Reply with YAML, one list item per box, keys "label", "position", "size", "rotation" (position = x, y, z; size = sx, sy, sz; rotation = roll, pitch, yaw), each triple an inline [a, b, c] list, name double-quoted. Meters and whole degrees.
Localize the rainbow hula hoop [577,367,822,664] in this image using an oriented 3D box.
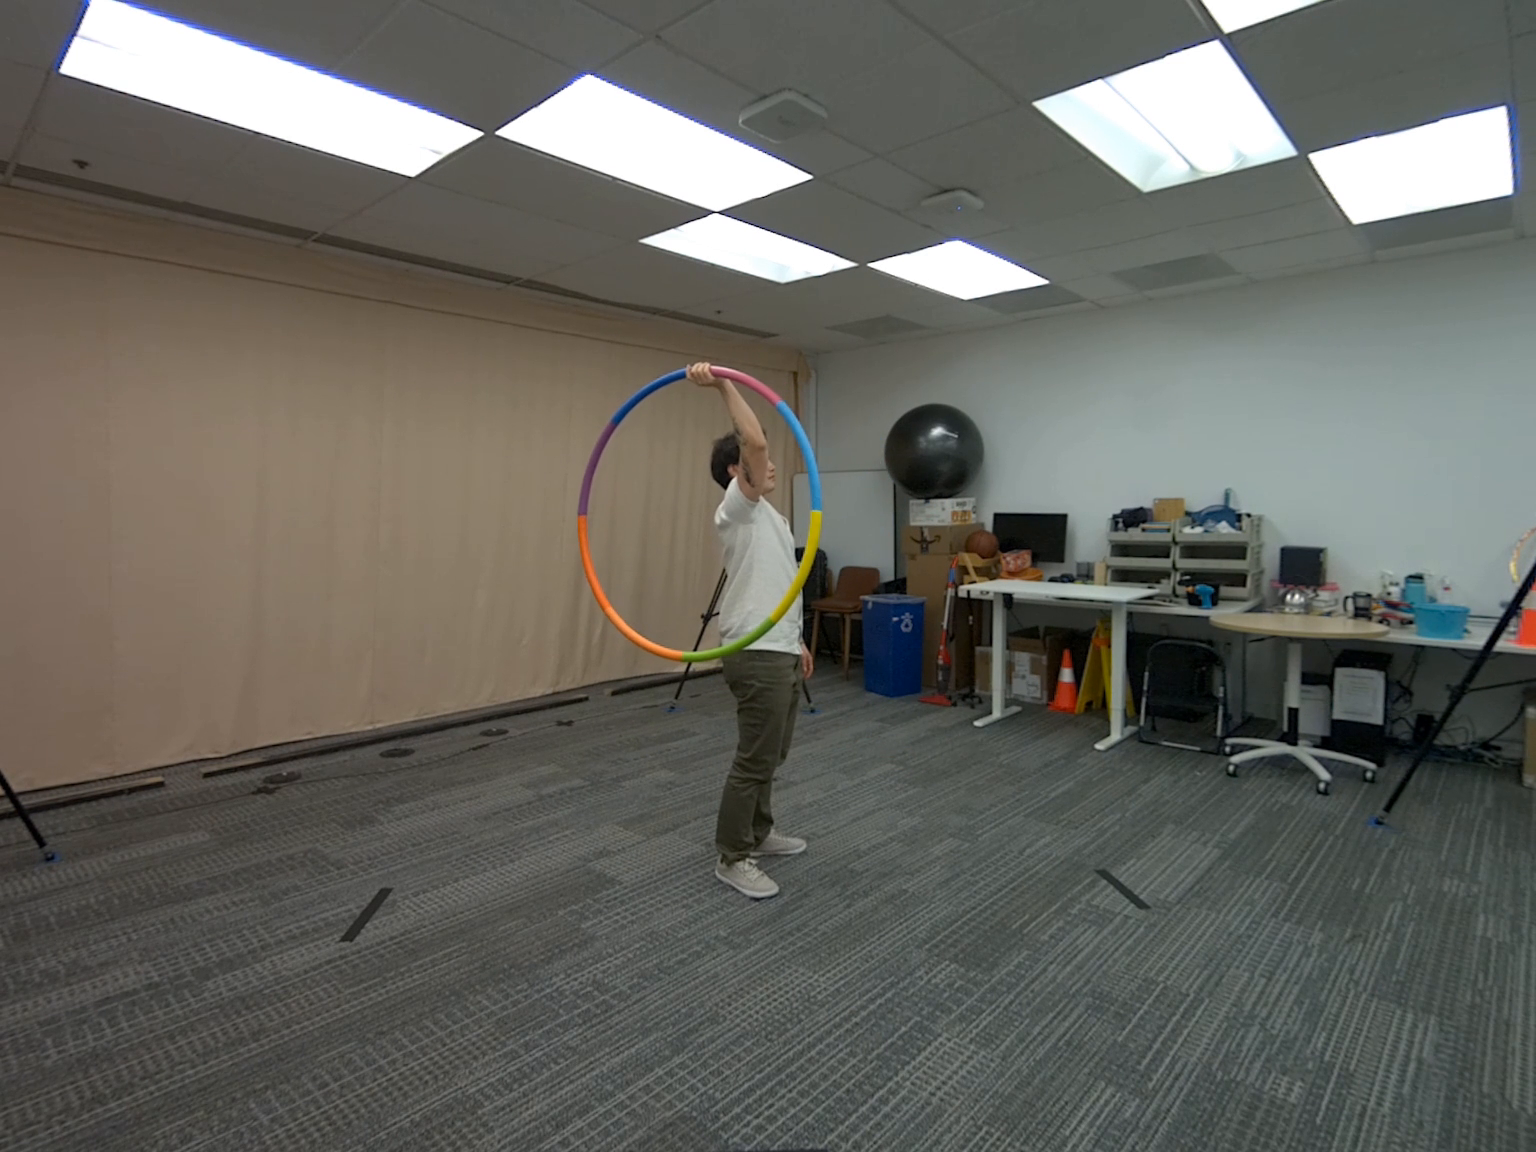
- label: "rainbow hula hoop"
  position: [-0.253, -0.214, 2.837]
  size: [1.008, 0.979, 0.034]
  rotation: [2, -2, 32]
